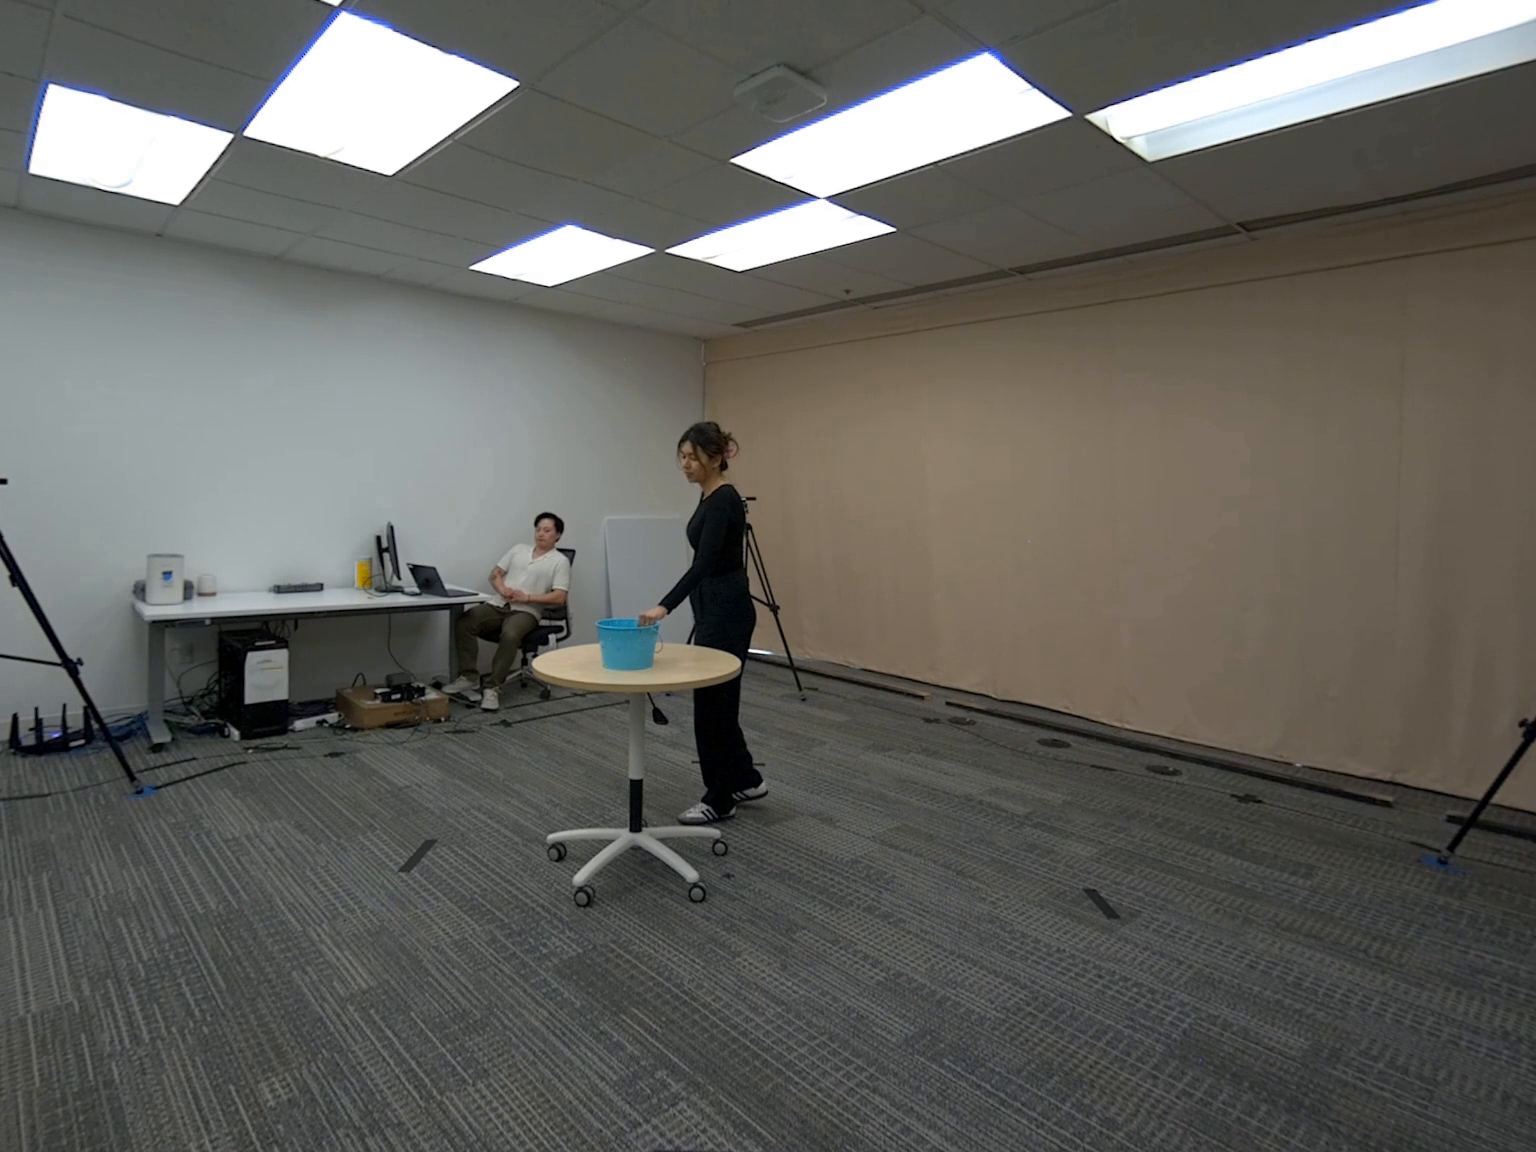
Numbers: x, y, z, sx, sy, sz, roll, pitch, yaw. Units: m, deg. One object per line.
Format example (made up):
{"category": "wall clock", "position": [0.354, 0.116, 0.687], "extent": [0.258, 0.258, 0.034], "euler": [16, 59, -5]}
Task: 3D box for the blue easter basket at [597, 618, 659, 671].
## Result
{"category": "blue easter basket", "position": [-0.511, 0.248, 3.042], "extent": [0.243, 0.155, 0.244], "euler": [0, 5, -1]}
